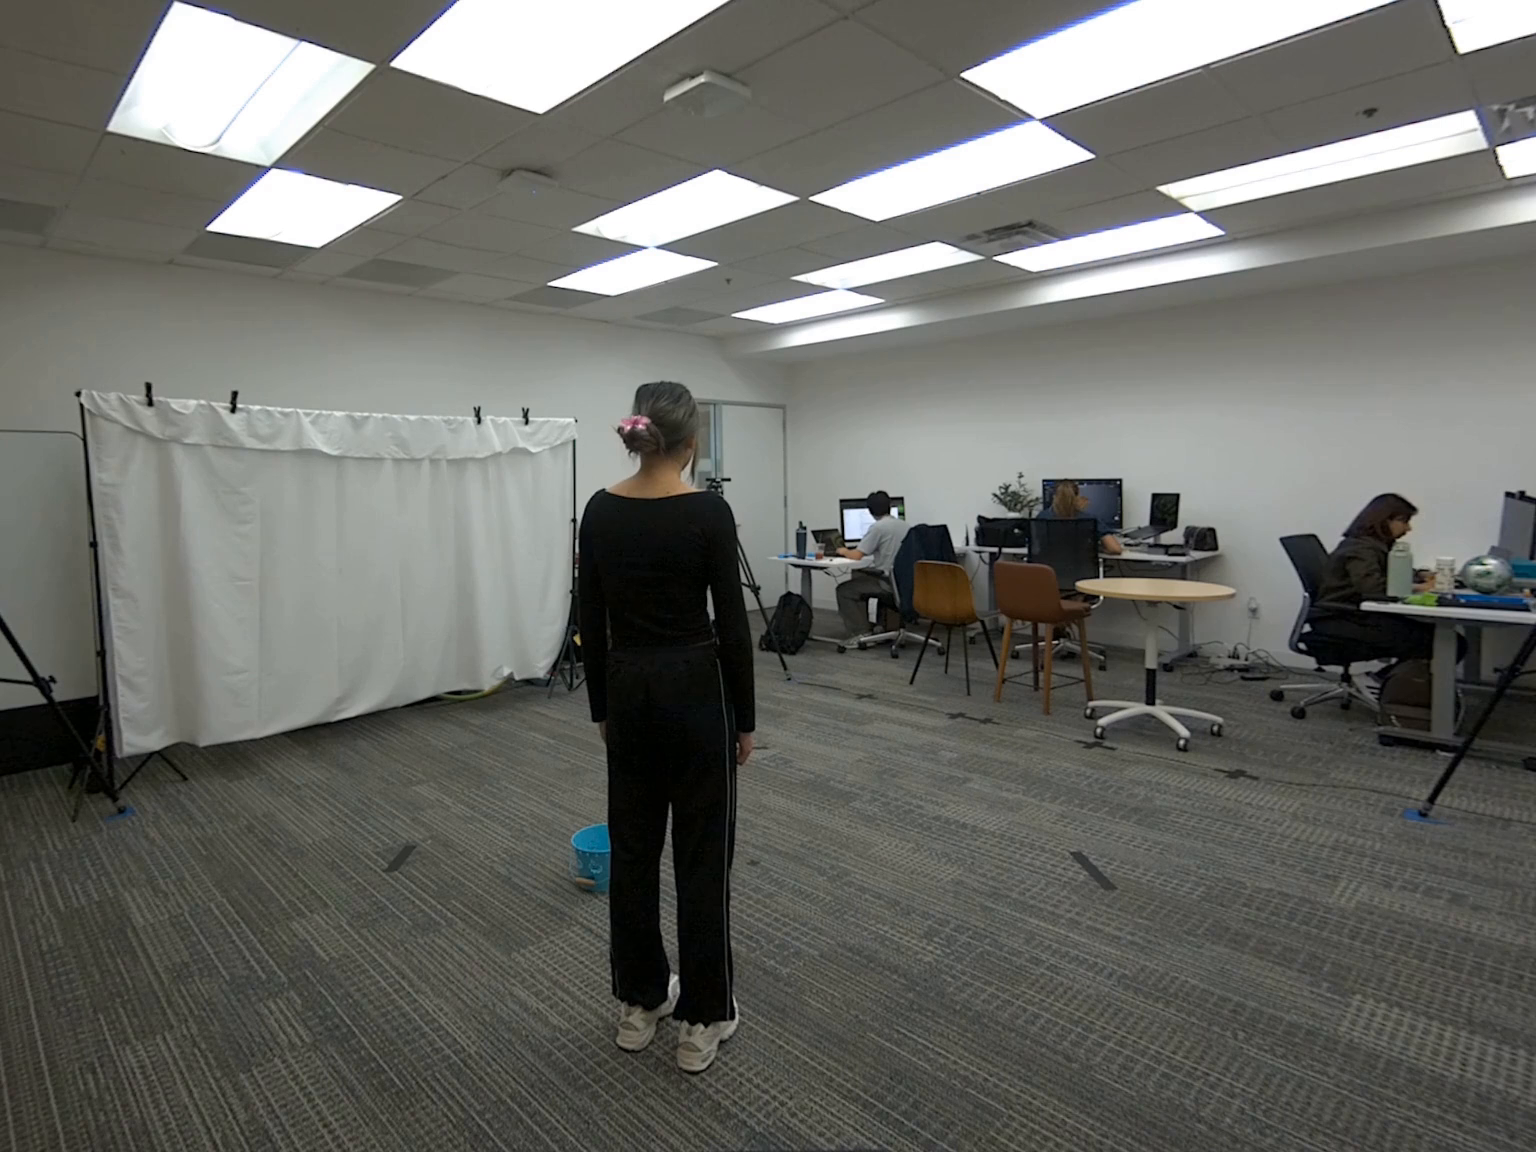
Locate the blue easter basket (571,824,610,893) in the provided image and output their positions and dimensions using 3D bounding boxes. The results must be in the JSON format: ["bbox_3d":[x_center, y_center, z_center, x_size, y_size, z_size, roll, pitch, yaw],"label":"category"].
[{"bbox_3d":[-0.572,0.989,2.995,0.243,0.155,0.245,-1,5,-2],"label":"blue easter basket"}]
